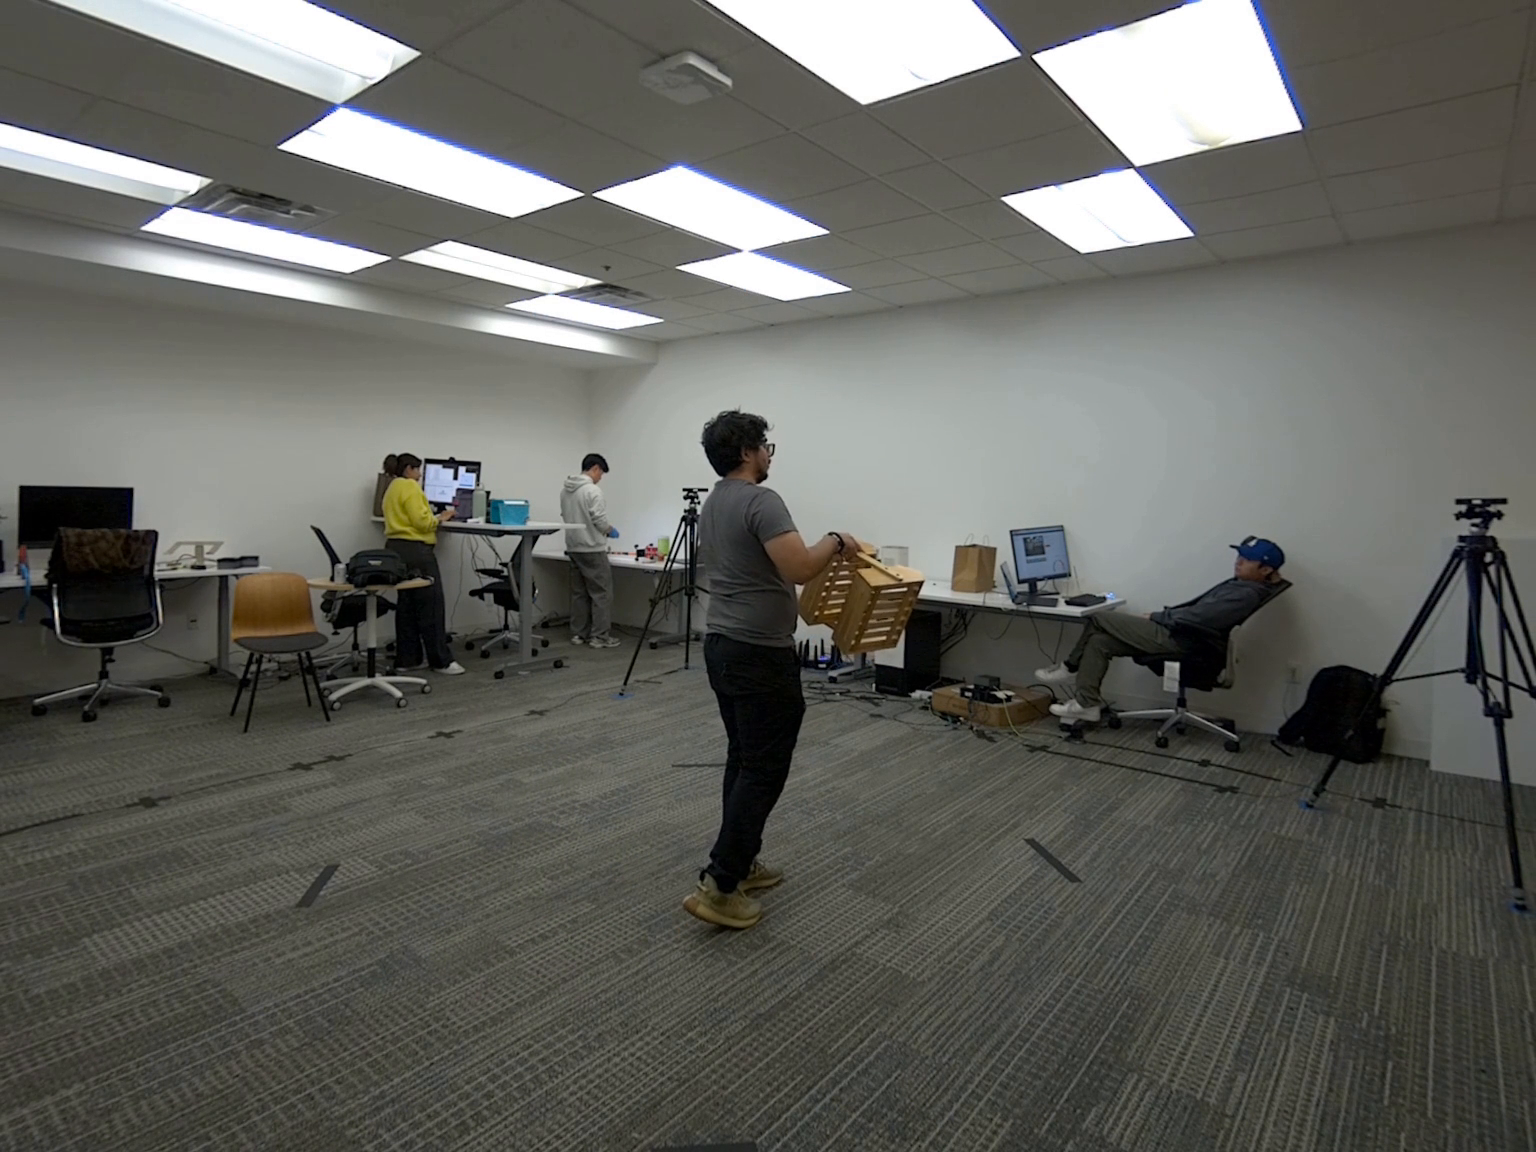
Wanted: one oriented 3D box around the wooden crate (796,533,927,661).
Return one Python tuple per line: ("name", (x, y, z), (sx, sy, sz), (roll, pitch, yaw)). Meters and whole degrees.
("wooden crate", (0.310, 0.066, 2.993), (0.294, 0.319, 0.285), (-5, 37, -30))
